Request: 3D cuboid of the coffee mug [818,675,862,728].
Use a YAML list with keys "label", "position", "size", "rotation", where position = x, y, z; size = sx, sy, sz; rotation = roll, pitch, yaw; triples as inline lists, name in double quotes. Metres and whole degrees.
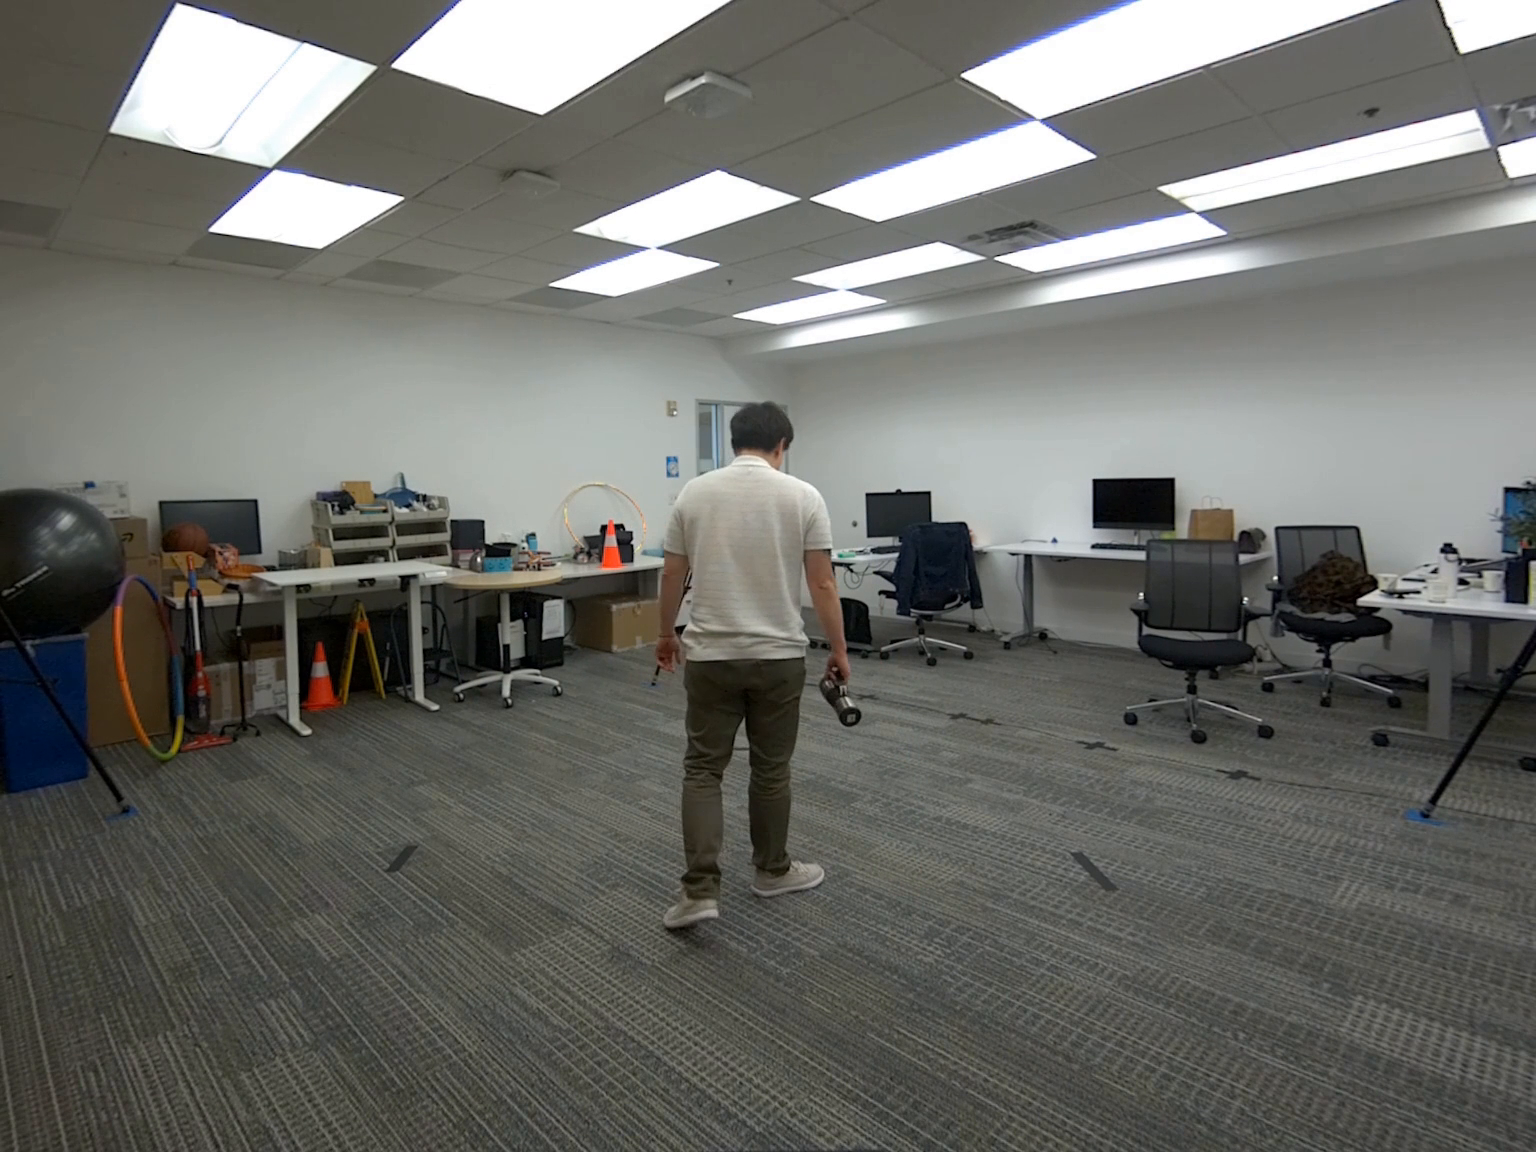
- label: "coffee mug"
  position: [0.222, 0.387, 2.800]
  size: [0.088, 0.119, 0.207]
  rotation: [-40, 19, 5]
